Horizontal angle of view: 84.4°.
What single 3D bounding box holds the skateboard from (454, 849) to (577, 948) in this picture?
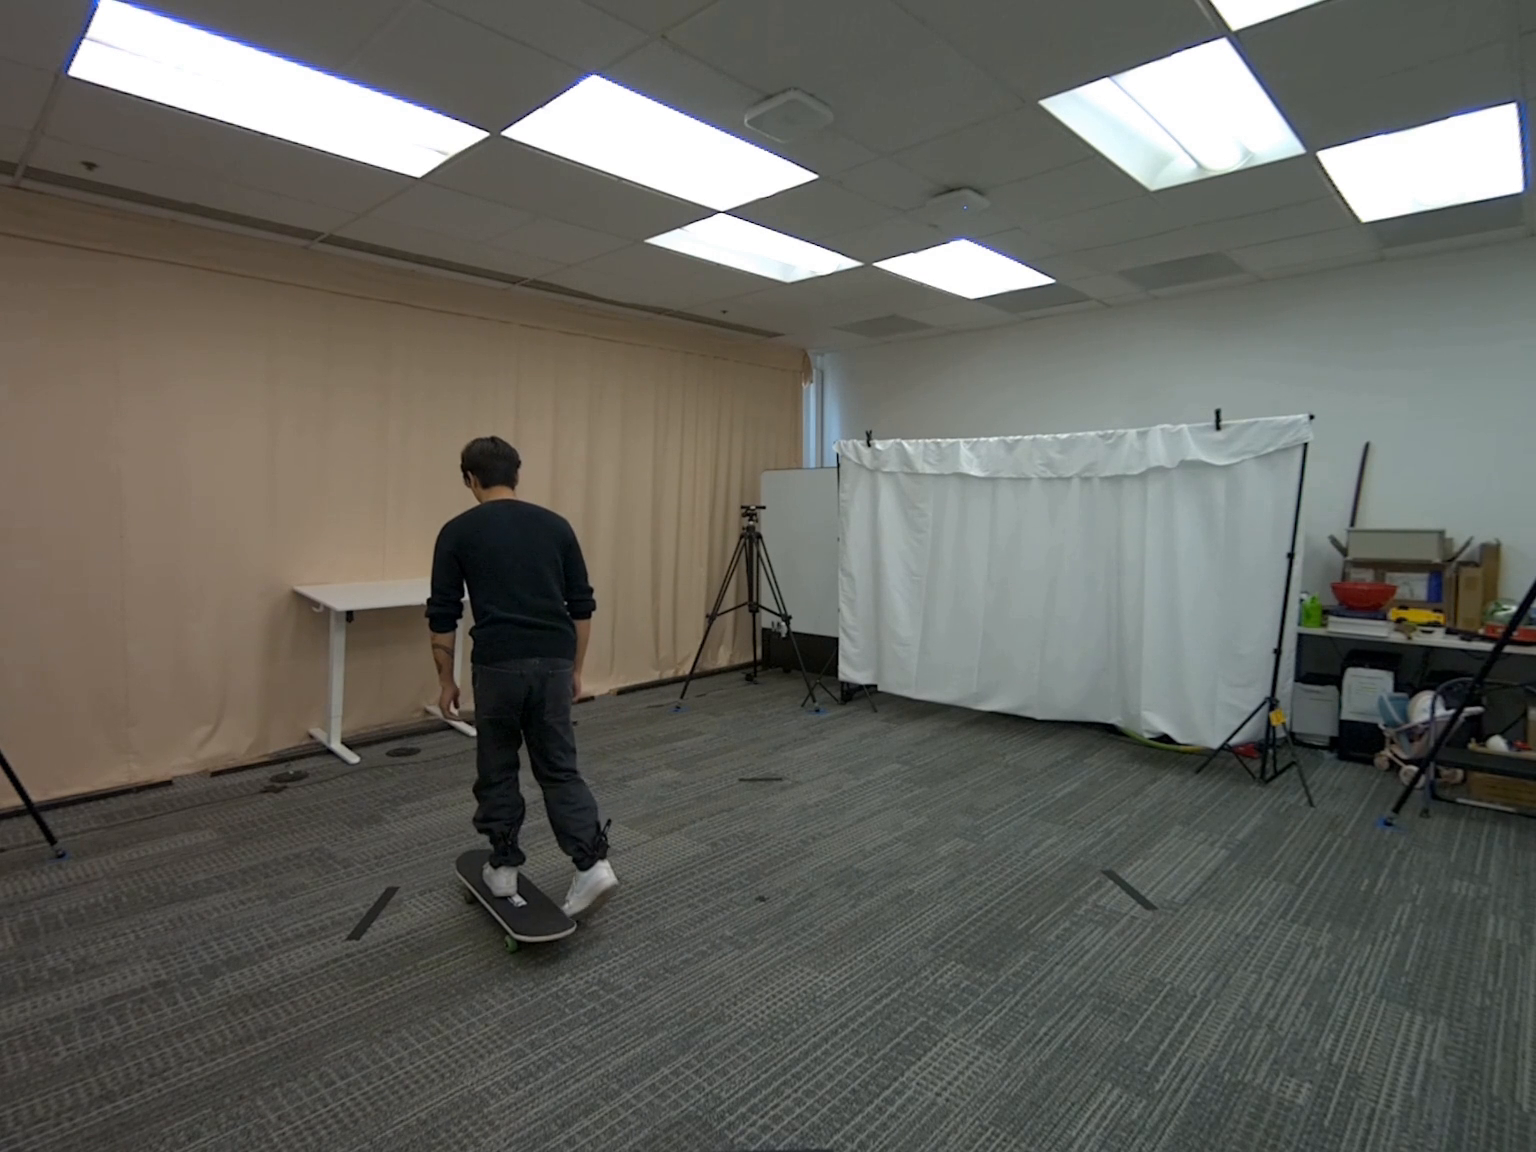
[{"bbox_3d":[-0.880,1.112,2.844,0.188,0.110,0.810,-1,4,-36],"label":"skateboard"}]
